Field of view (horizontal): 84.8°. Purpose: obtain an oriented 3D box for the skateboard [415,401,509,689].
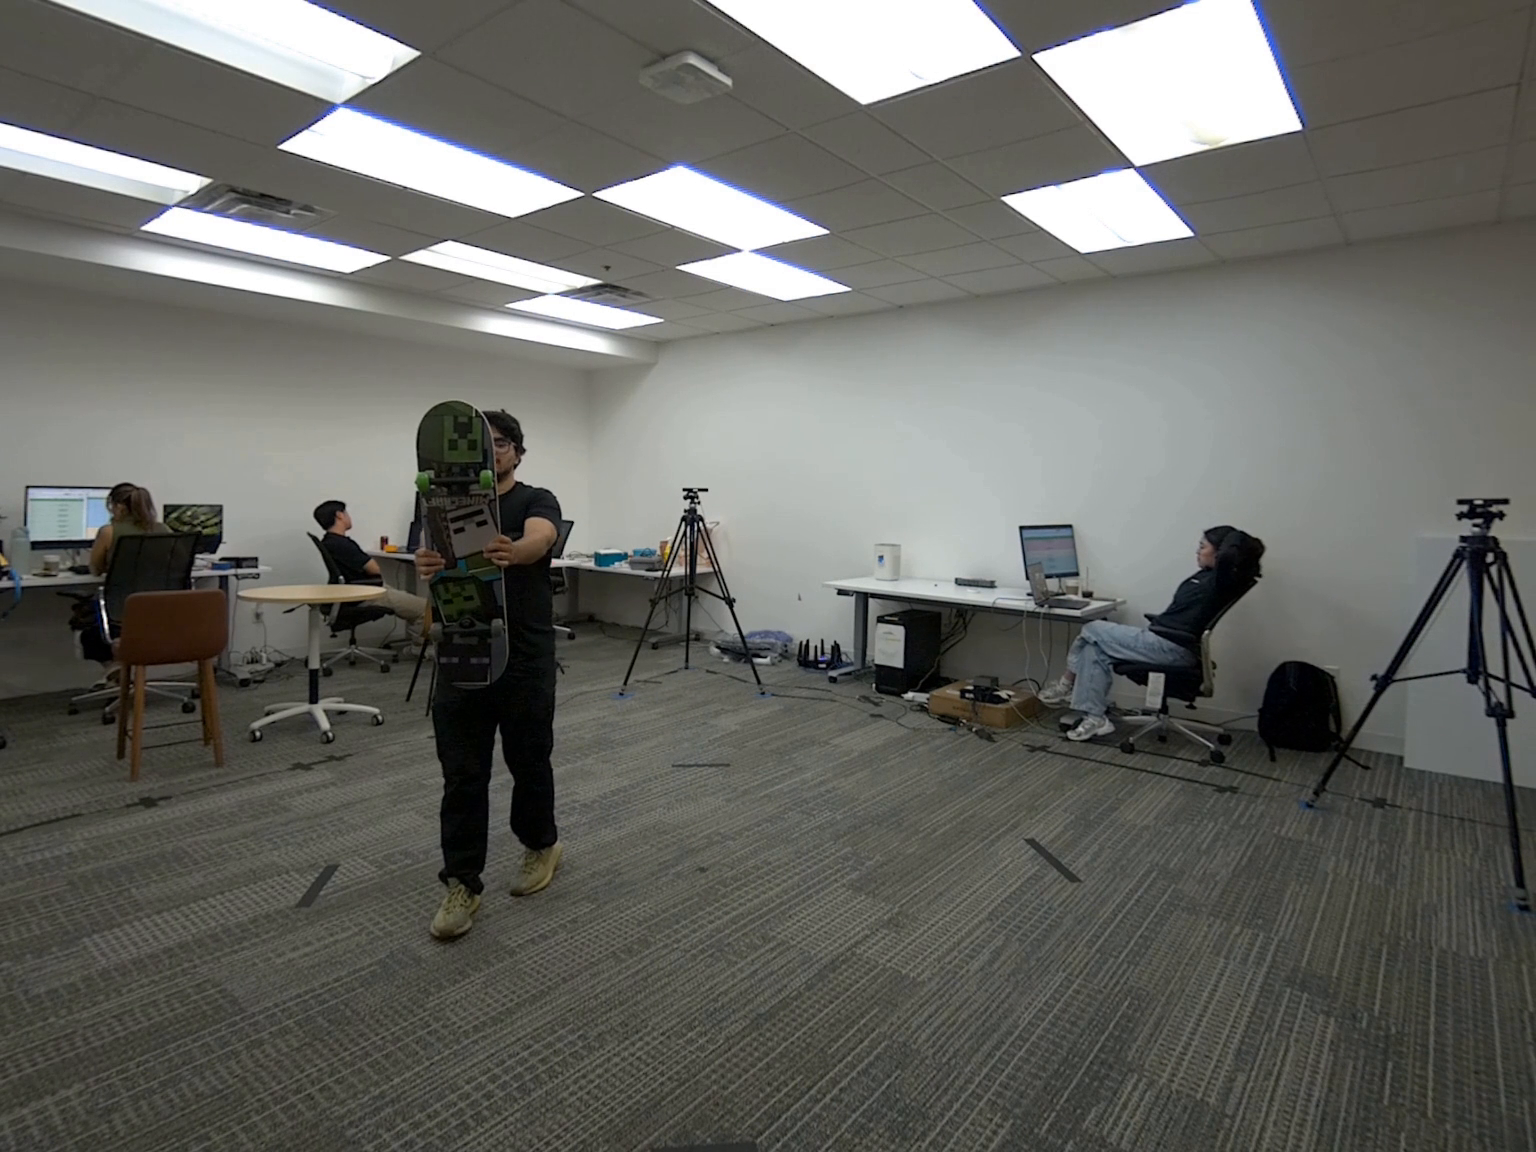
[{"bbox_3d":[-0.805,-0.060,2.232,0.192,0.774,0.113,-3,15,-9],"label":"skateboard"}]
